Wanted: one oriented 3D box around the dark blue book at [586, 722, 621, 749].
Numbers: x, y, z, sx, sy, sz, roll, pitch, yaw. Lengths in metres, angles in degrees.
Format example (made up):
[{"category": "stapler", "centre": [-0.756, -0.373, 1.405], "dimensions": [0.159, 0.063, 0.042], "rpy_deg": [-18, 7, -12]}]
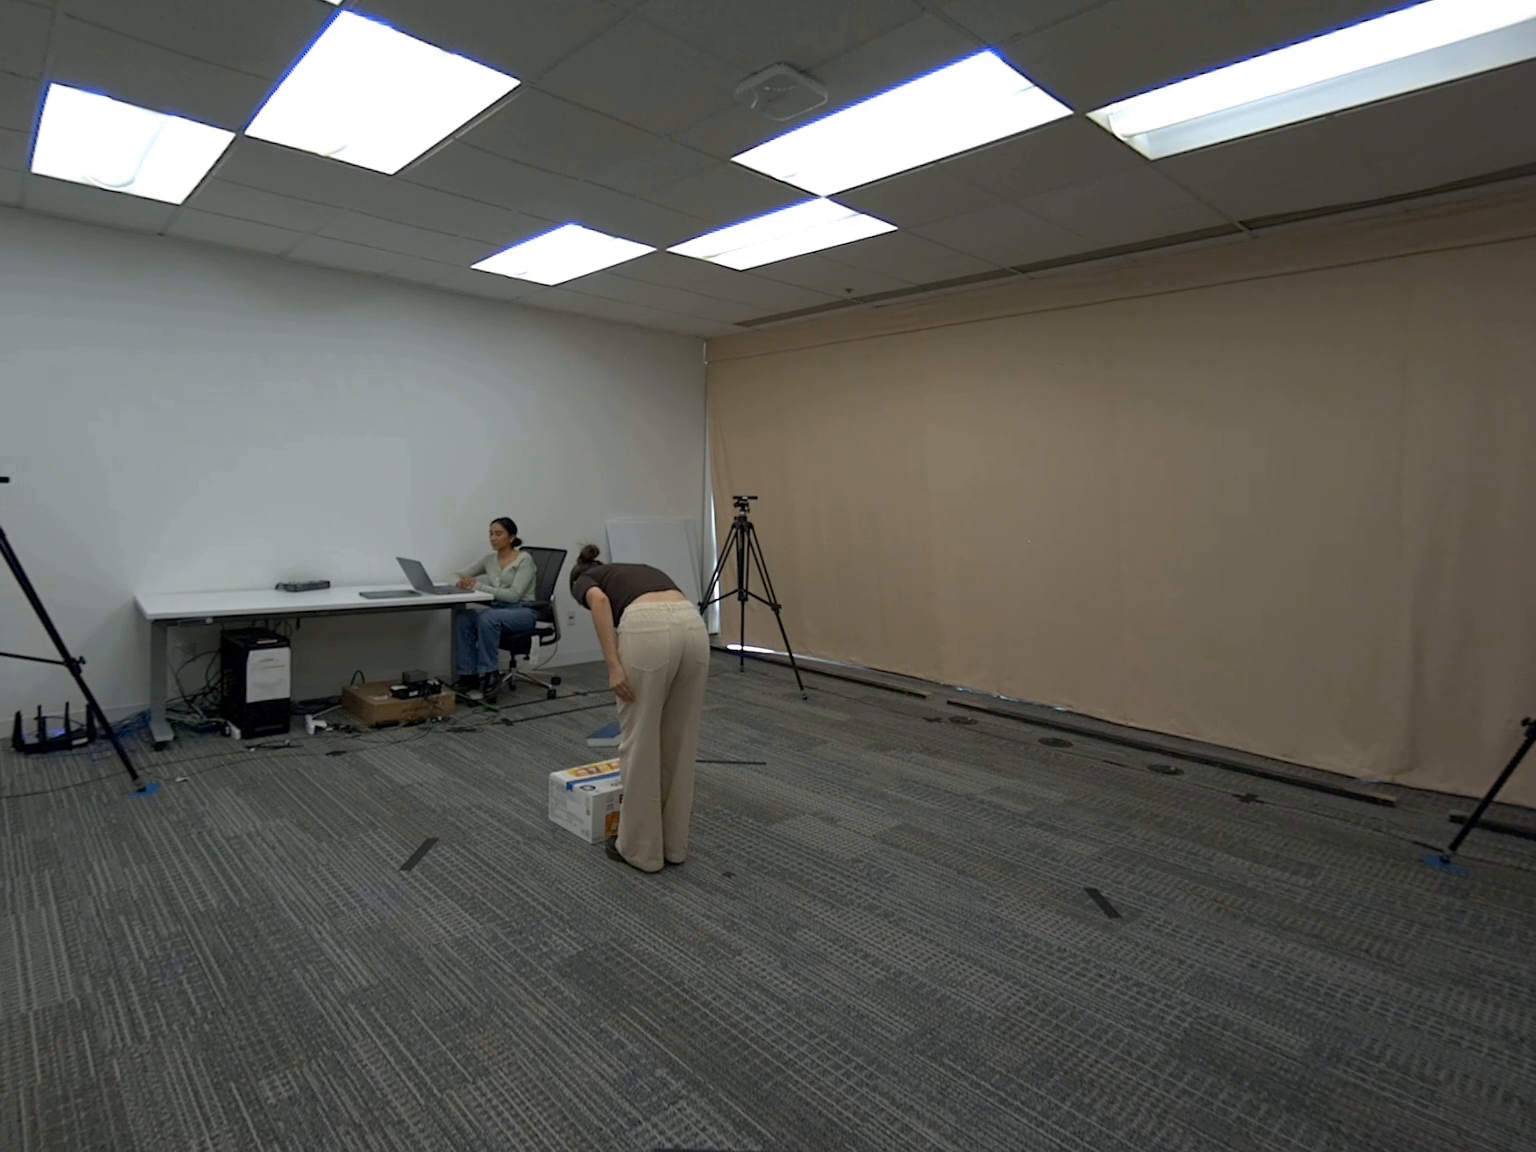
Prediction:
[{"category": "dark blue book", "centre": [-0.645, 0.653, 3.511], "dimensions": [0.161, 0.045, 0.249], "rpy_deg": [-26, 9, -41]}]
